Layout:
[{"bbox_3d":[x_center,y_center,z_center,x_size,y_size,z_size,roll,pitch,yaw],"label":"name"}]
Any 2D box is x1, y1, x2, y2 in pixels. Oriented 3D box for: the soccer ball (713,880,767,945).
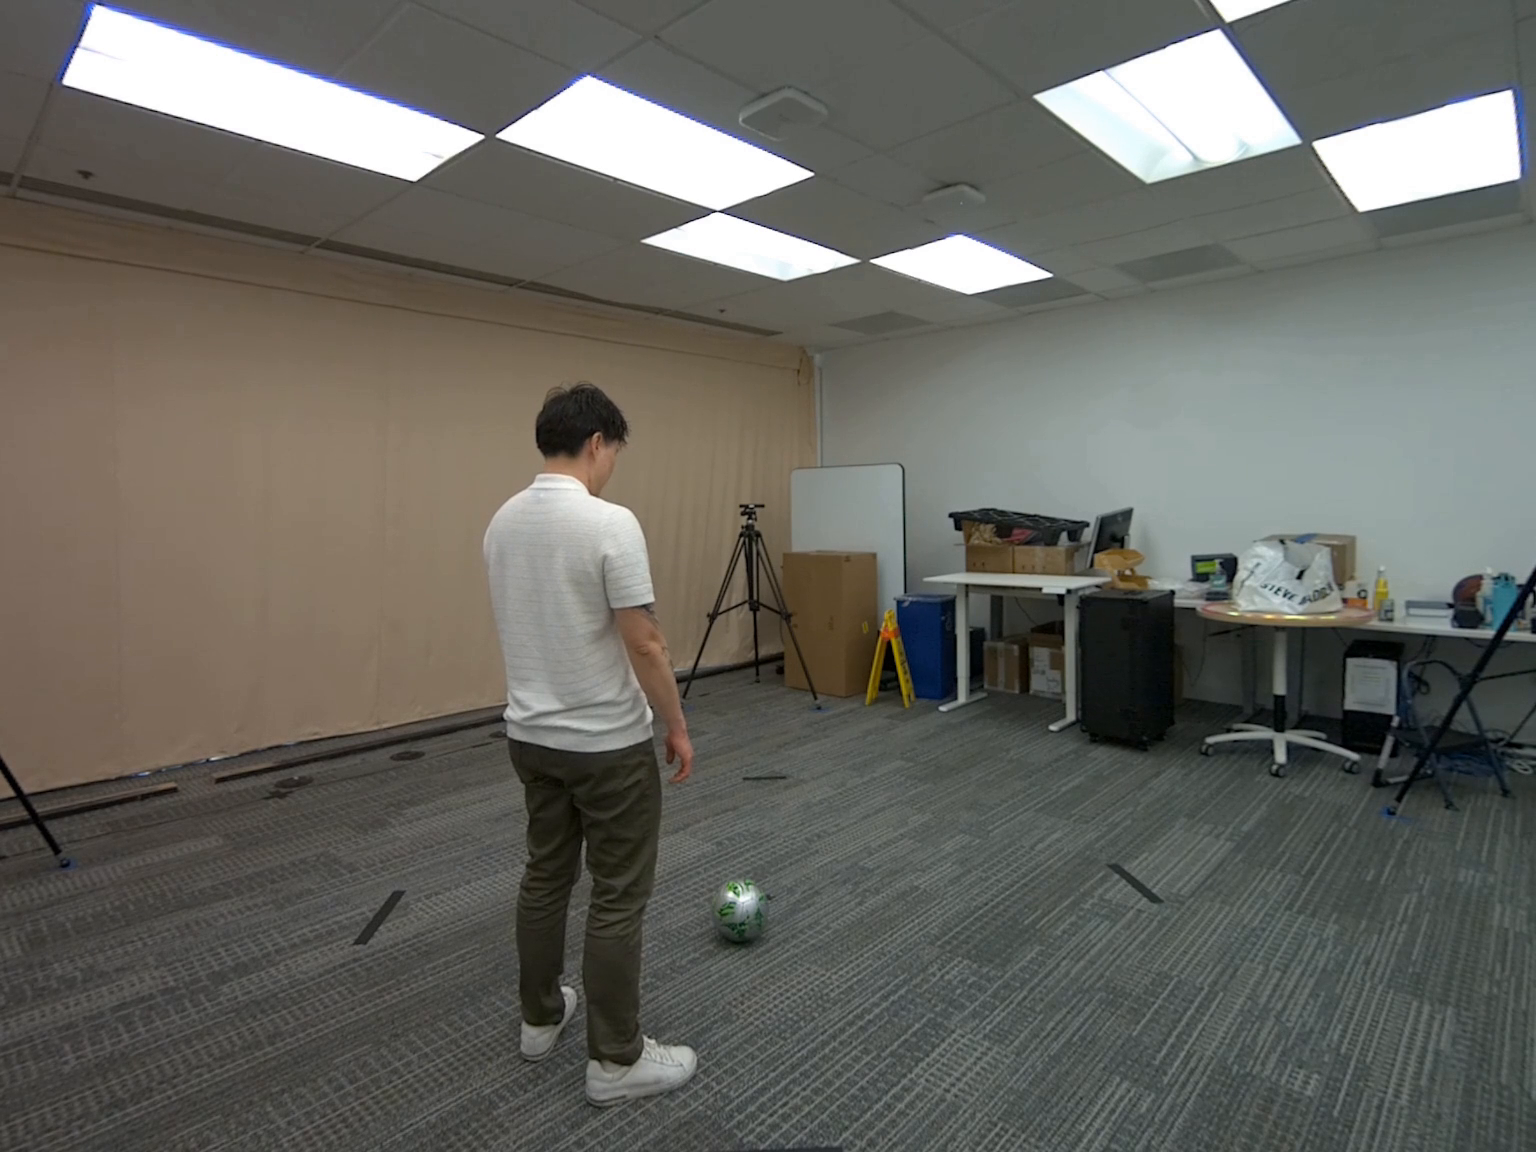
[{"bbox_3d":[-0.086,1.071,2.705,0.187,0.187,0.188,-1,4,-2],"label":"soccer ball"}]
